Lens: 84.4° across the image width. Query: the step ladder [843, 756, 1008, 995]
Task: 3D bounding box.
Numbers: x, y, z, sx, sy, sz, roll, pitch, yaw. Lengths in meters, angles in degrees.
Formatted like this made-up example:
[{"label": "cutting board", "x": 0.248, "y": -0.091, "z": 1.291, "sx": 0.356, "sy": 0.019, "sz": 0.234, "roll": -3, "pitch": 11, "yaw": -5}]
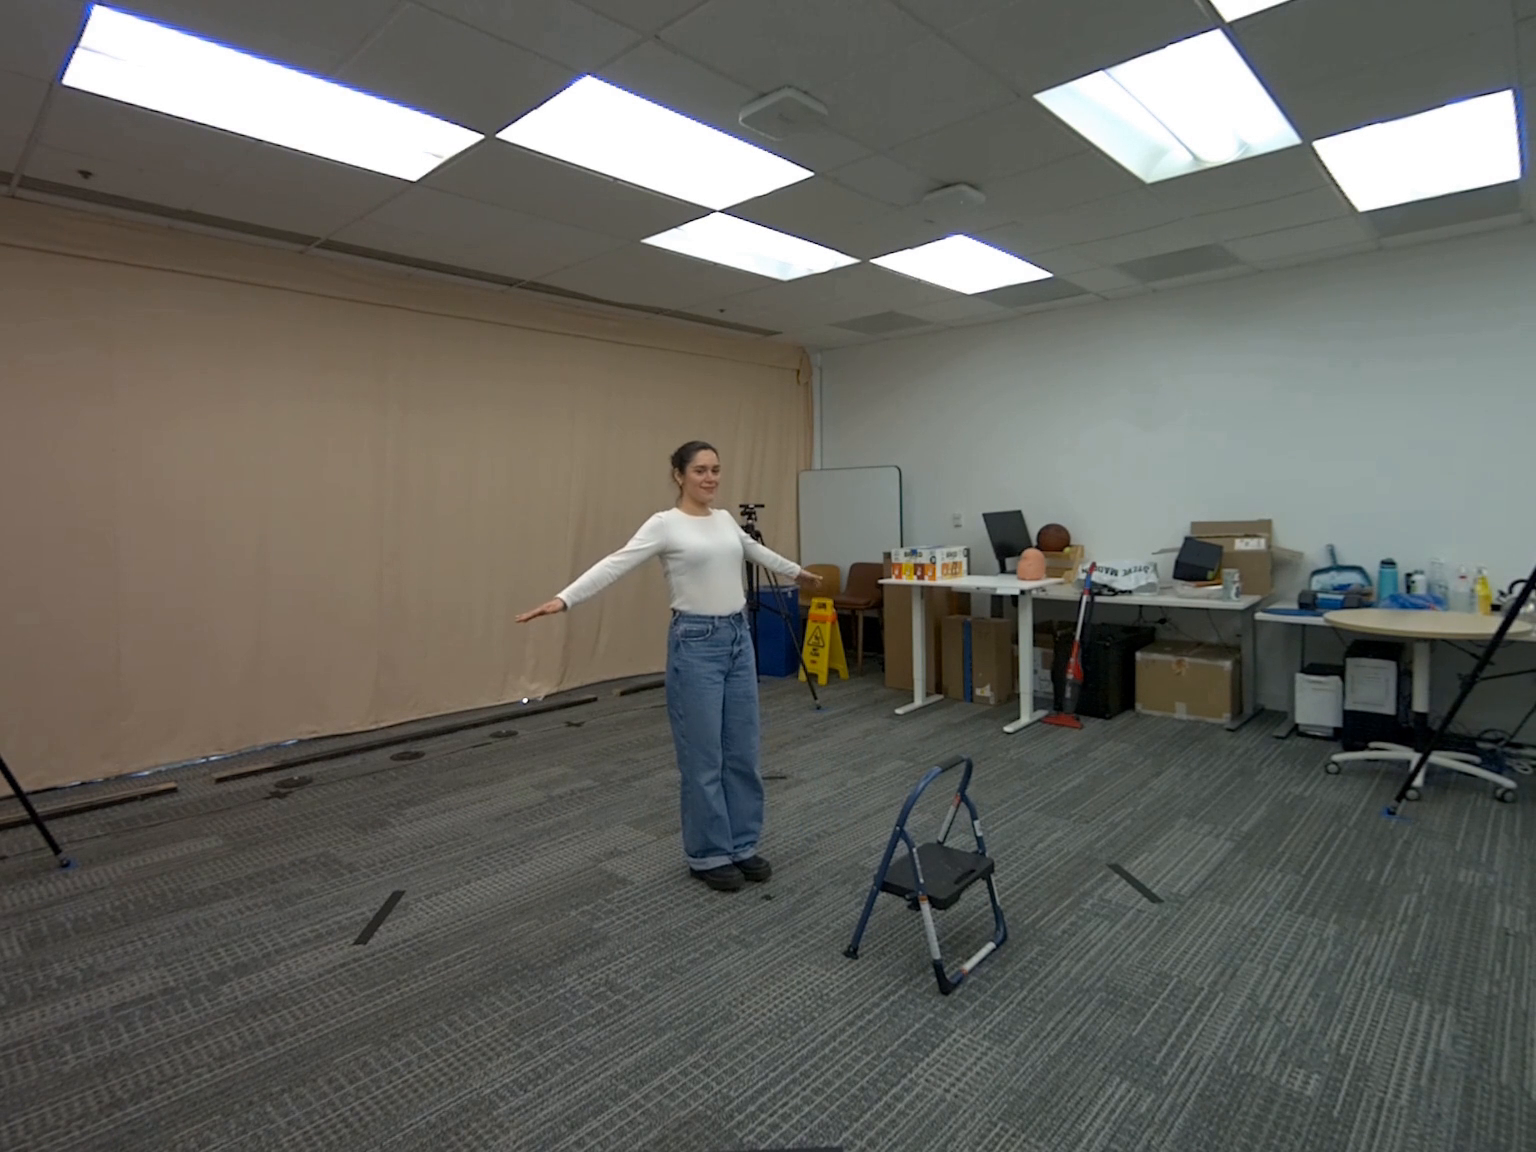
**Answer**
[{"label": "step ladder", "x": 0.501, "y": 0.861, "z": 2.615, "sx": 0.361, "sy": 0.604, "sz": 0.418, "roll": 2, "pitch": 5, "yaw": 40}]
